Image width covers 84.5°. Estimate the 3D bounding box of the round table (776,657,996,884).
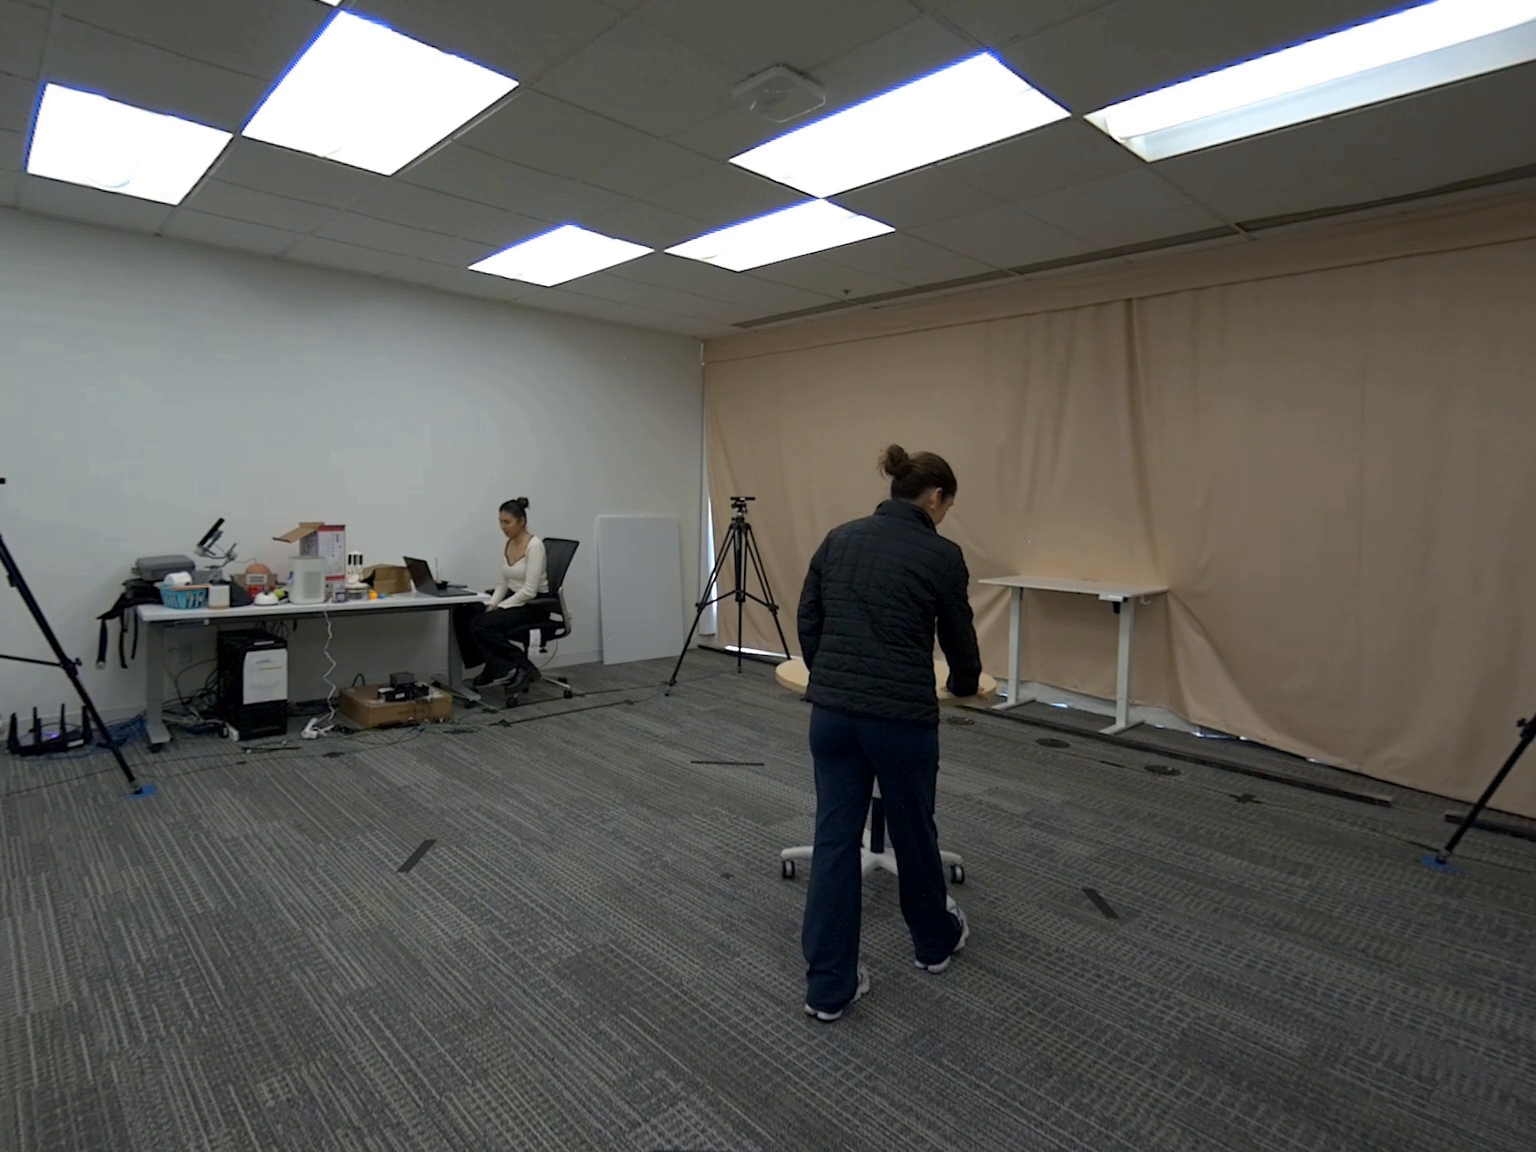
[{"bbox_3d":[0.409,0.744,2.979,0.784,0.784,0.788,1,4,-1],"label":"round table"}]
